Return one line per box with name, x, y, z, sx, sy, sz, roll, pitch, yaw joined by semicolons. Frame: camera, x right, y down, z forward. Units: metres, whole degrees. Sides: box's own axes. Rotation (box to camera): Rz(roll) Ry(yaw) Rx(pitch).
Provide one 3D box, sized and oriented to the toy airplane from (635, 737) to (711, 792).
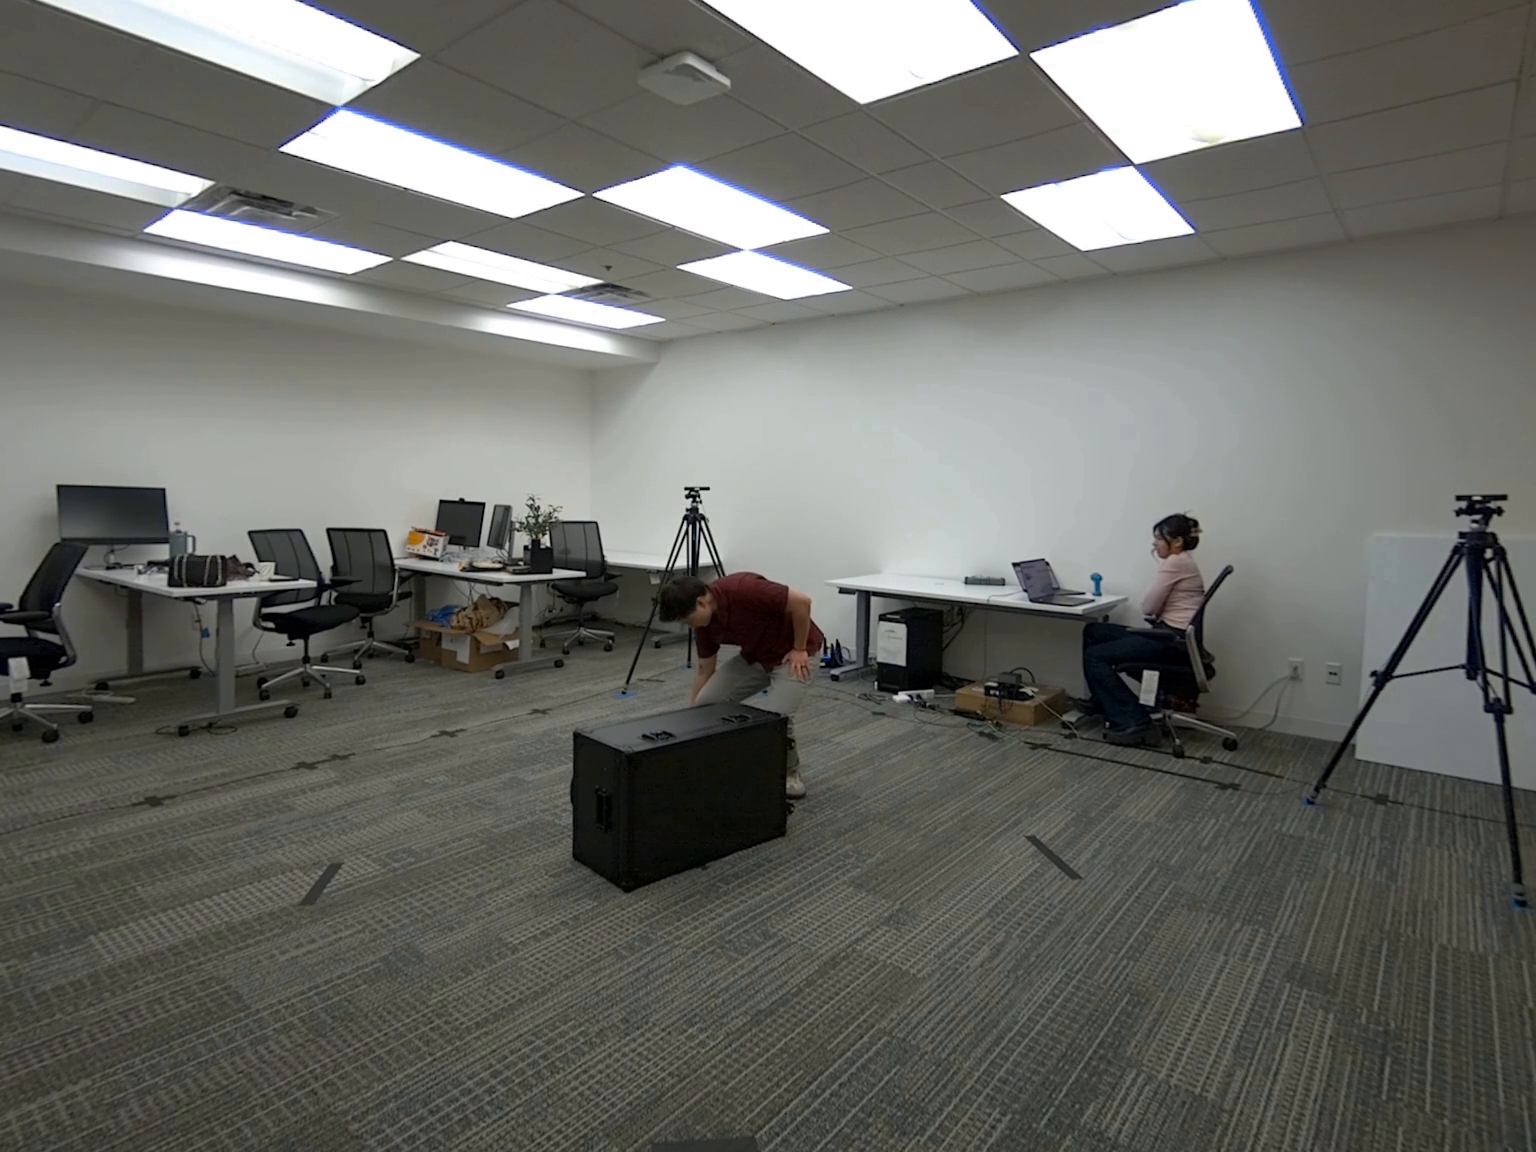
toy airplane;-0.454;0.892;4.015;0.267;0.156;0.244;2;4;30
